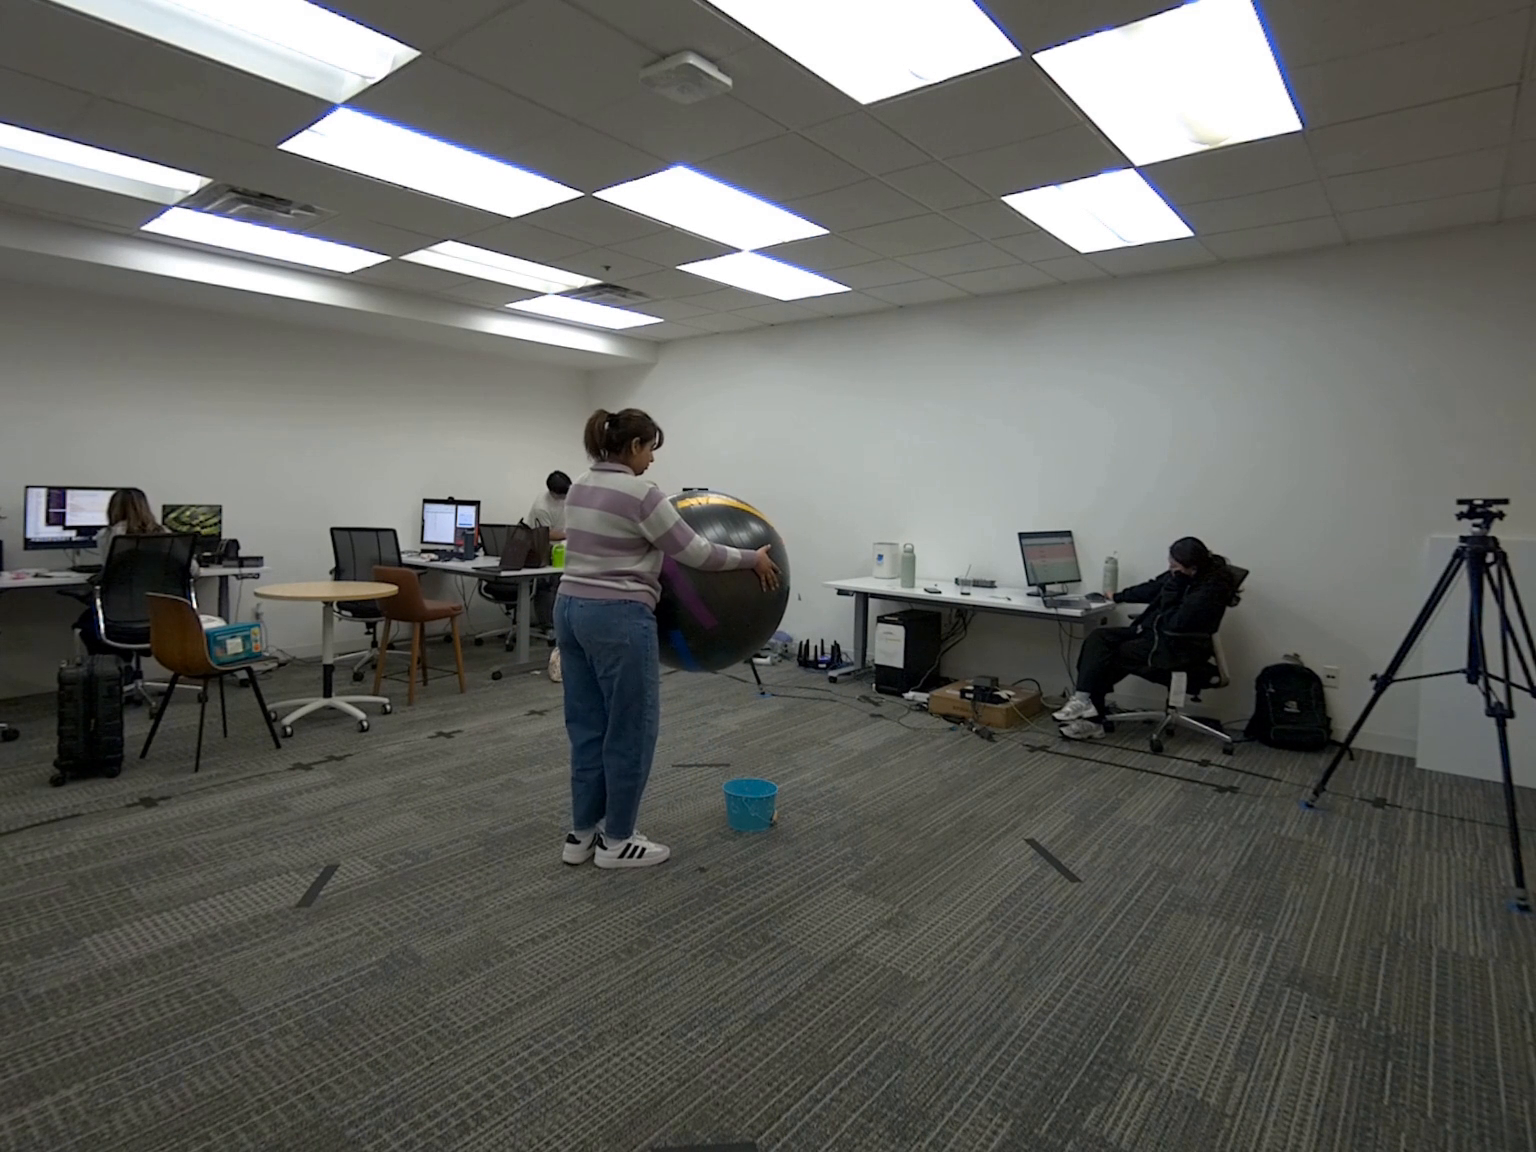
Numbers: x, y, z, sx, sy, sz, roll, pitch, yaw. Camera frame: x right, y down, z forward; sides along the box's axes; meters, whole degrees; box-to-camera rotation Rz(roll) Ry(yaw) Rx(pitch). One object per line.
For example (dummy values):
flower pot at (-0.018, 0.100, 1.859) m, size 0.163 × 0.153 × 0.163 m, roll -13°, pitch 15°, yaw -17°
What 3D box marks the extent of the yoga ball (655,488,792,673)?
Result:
yoga ball at (-0.284, 0.024, 3.581) m, size 0.757 × 0.756 × 0.761 m, roll 1°, pitch 4°, yaw -2°
